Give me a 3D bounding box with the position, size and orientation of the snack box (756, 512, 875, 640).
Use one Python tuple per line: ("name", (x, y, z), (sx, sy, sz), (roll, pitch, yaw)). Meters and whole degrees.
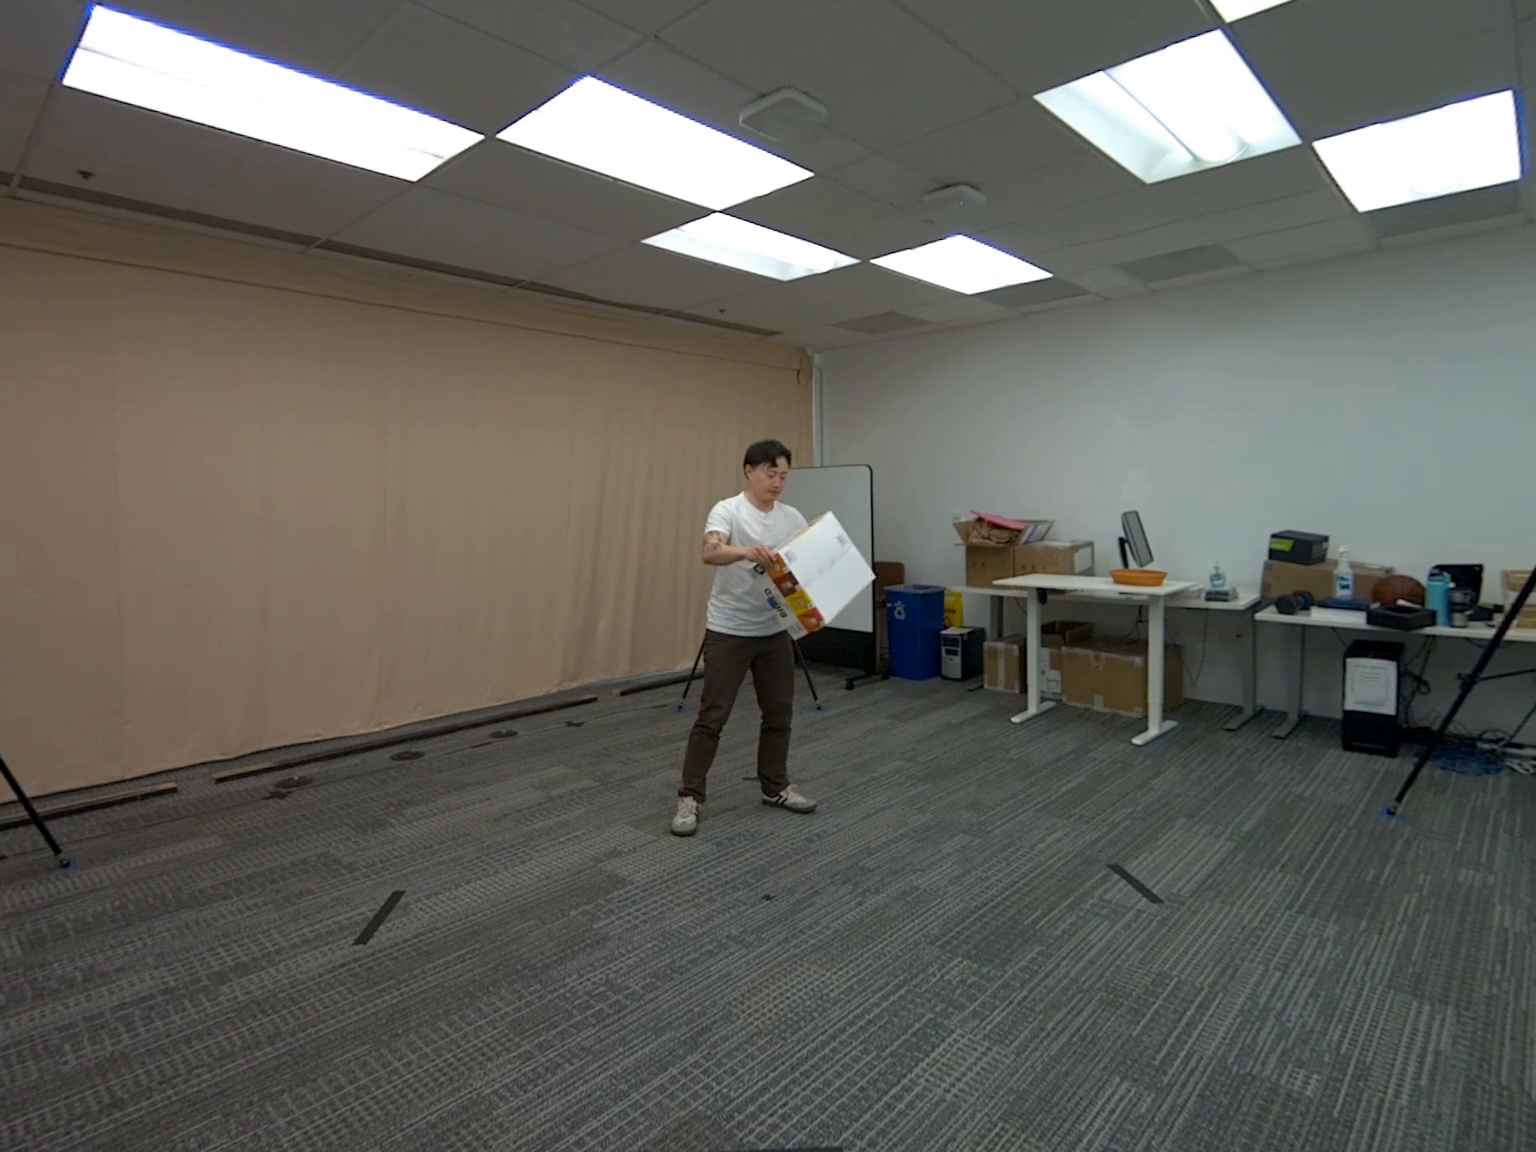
("snack box", (0.185, 0.001, 3.400), (0.209, 0.339, 0.399), (-32, 5, 46))
